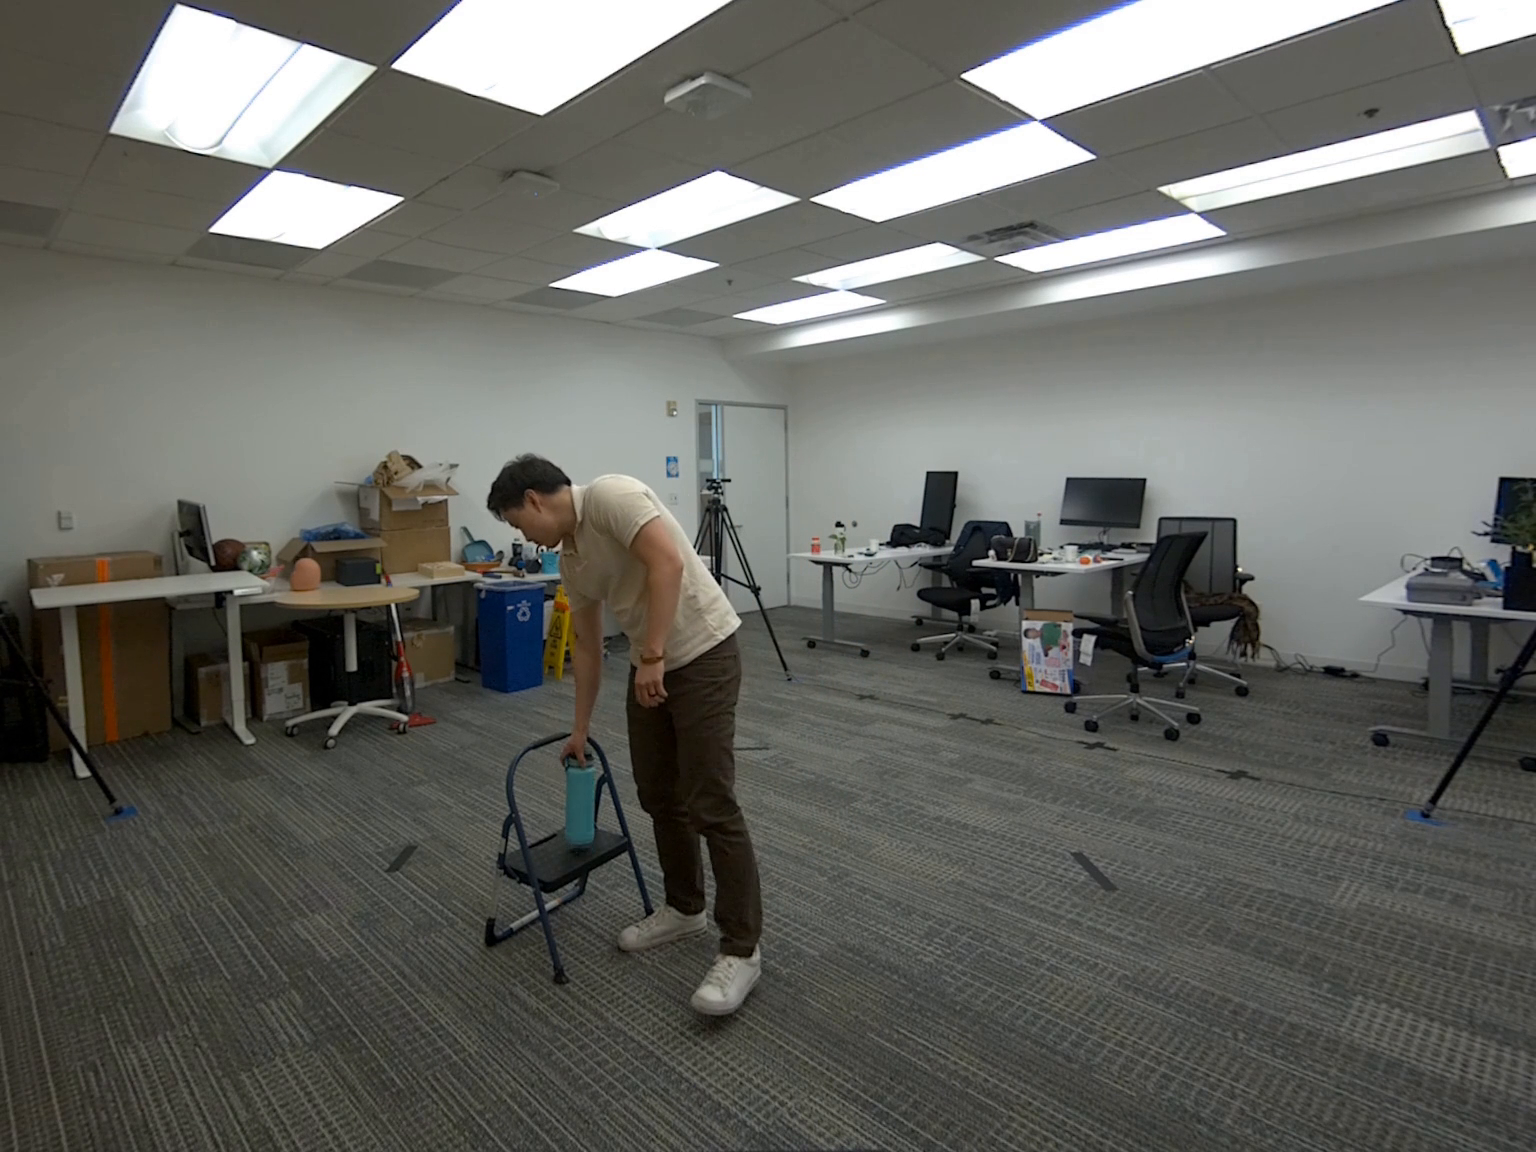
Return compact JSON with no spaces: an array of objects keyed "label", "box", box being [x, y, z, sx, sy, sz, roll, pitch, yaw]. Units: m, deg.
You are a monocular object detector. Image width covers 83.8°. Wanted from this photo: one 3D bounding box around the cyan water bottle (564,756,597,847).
[{"label":"cyan water bottle","box":[-0.581,0.676,2.656,0.092,0.283,0.092,1,-1,-2]}]
